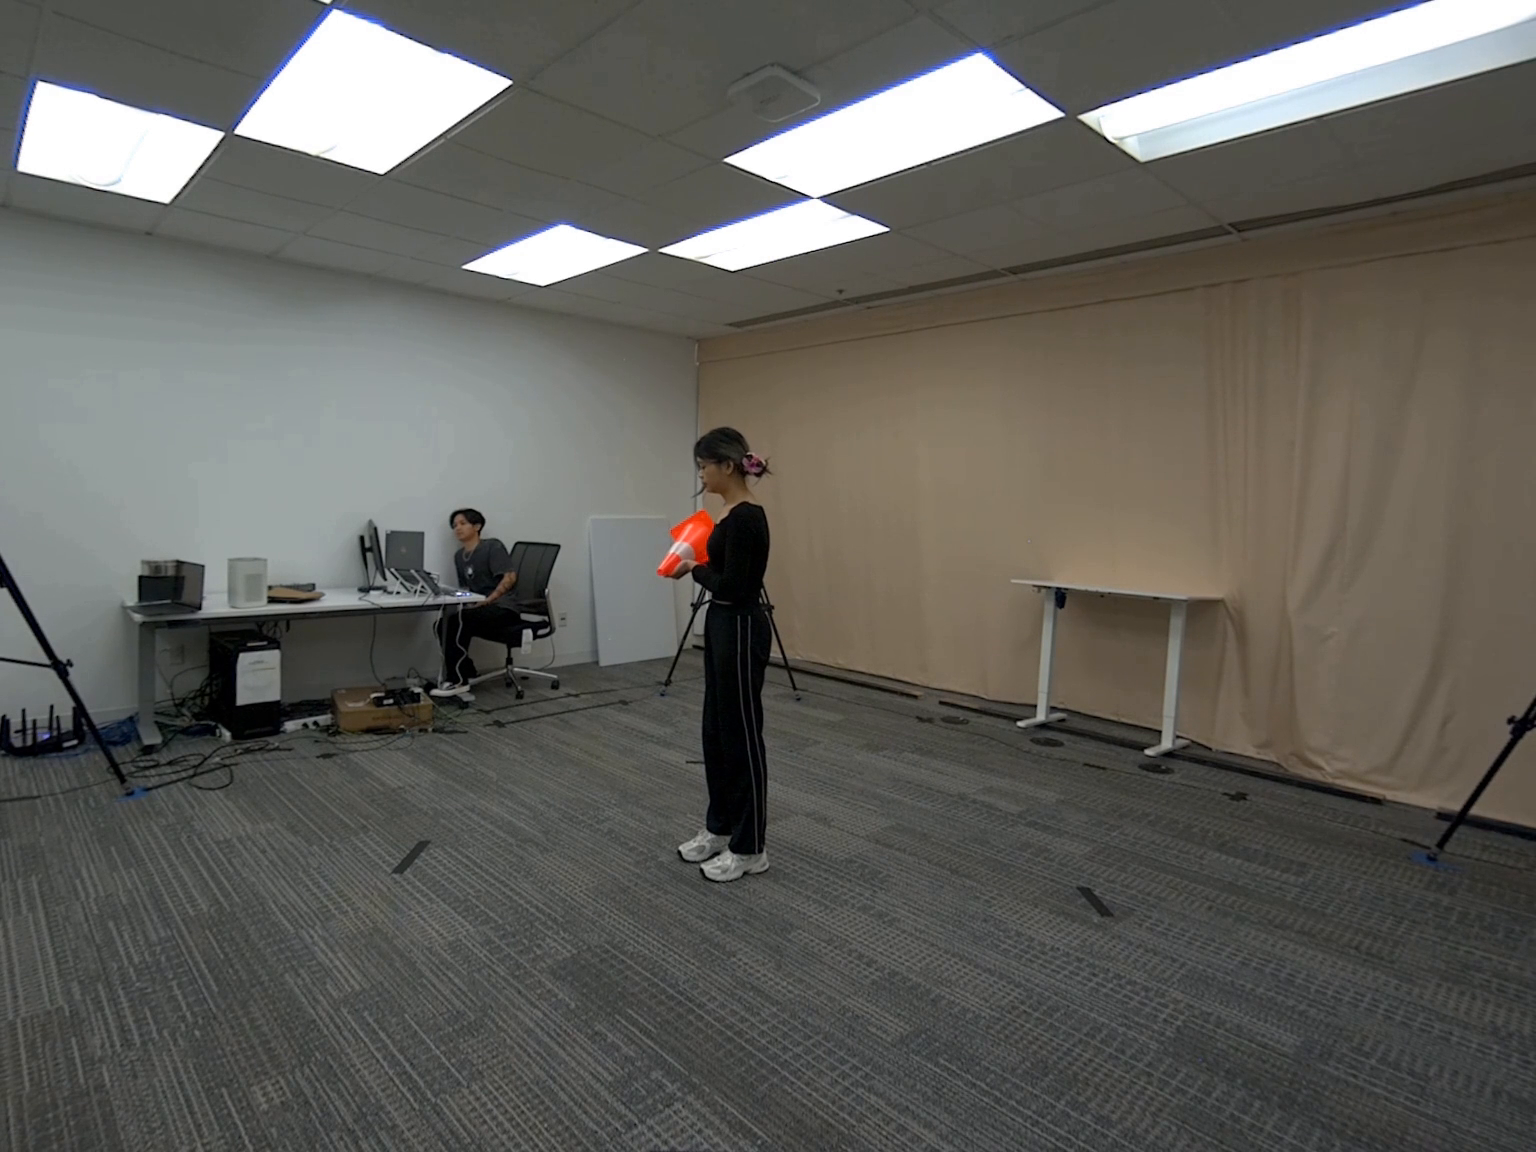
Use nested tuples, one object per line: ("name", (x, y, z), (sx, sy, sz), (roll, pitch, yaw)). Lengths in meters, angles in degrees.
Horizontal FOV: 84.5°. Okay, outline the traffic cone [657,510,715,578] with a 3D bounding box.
("traffic cone", (-0.337, -0.078, 3.242), (0.206, 0.202, 0.384), (-30, 10, 26))
